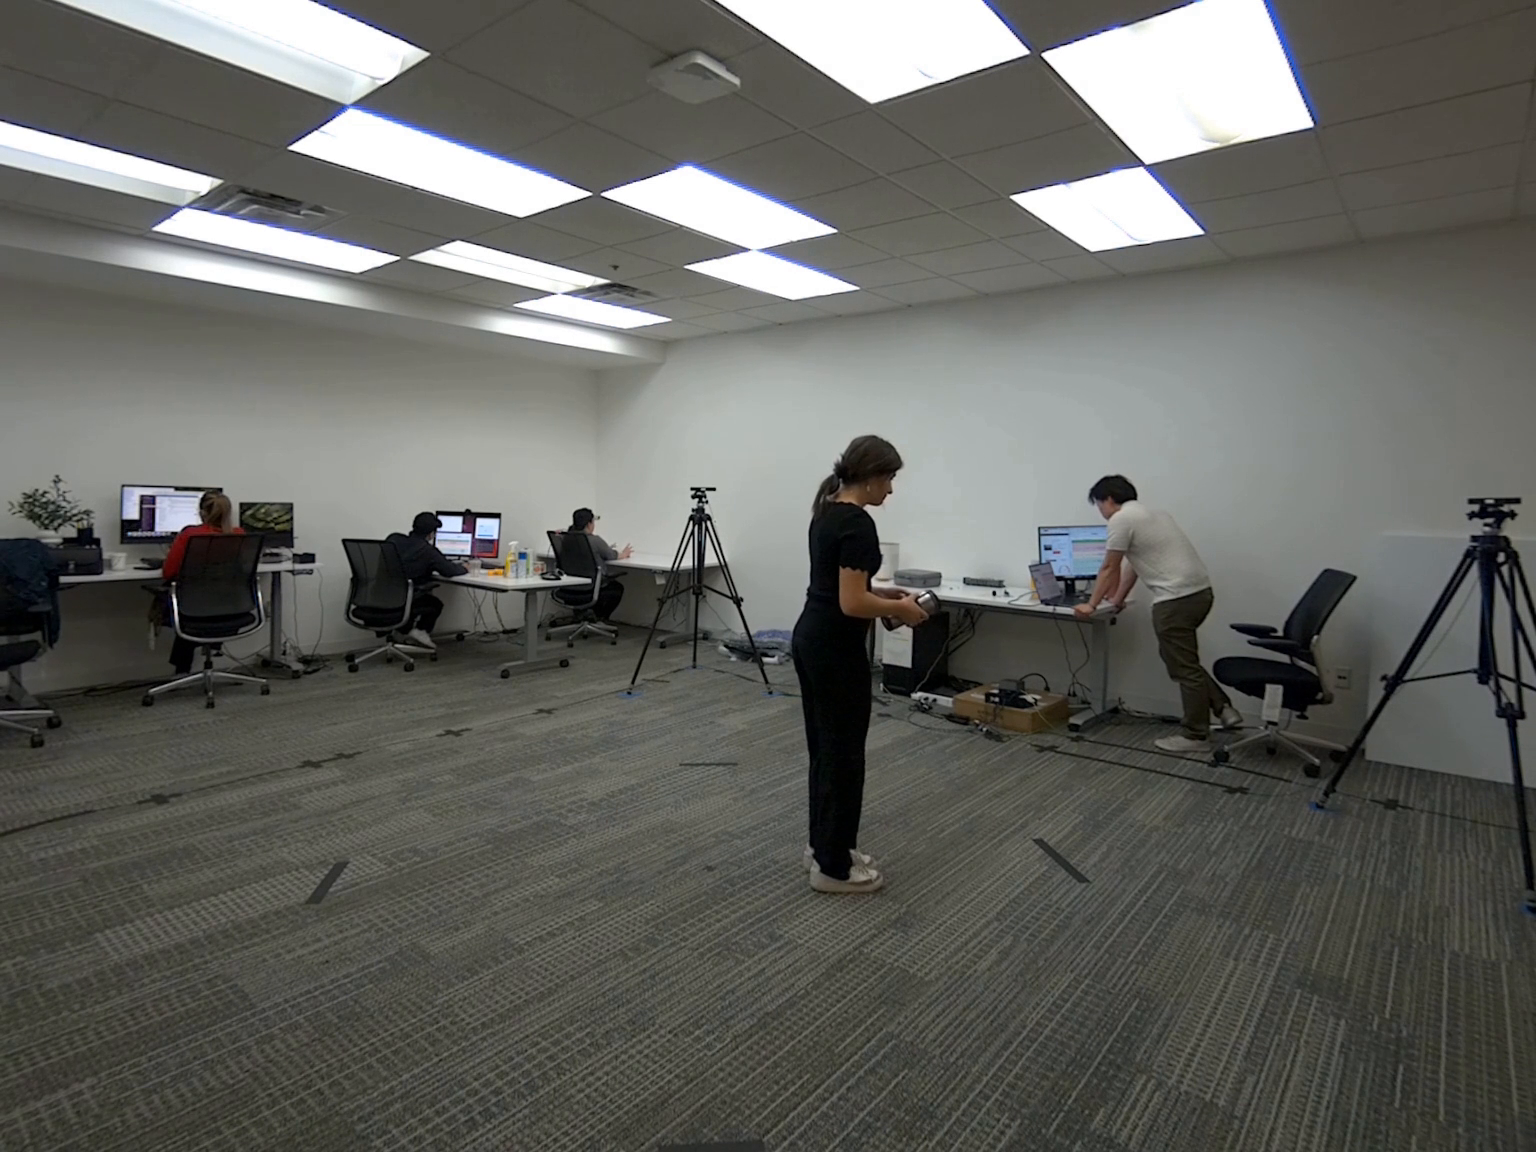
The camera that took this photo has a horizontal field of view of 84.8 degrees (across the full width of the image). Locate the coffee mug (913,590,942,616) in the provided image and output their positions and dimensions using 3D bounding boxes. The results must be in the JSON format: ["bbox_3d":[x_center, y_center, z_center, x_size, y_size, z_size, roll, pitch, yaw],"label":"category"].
[{"bbox_3d":[0.498,0.138,3.008,0.202,0.118,0.091,-26,51,-9],"label":"coffee mug"}]
